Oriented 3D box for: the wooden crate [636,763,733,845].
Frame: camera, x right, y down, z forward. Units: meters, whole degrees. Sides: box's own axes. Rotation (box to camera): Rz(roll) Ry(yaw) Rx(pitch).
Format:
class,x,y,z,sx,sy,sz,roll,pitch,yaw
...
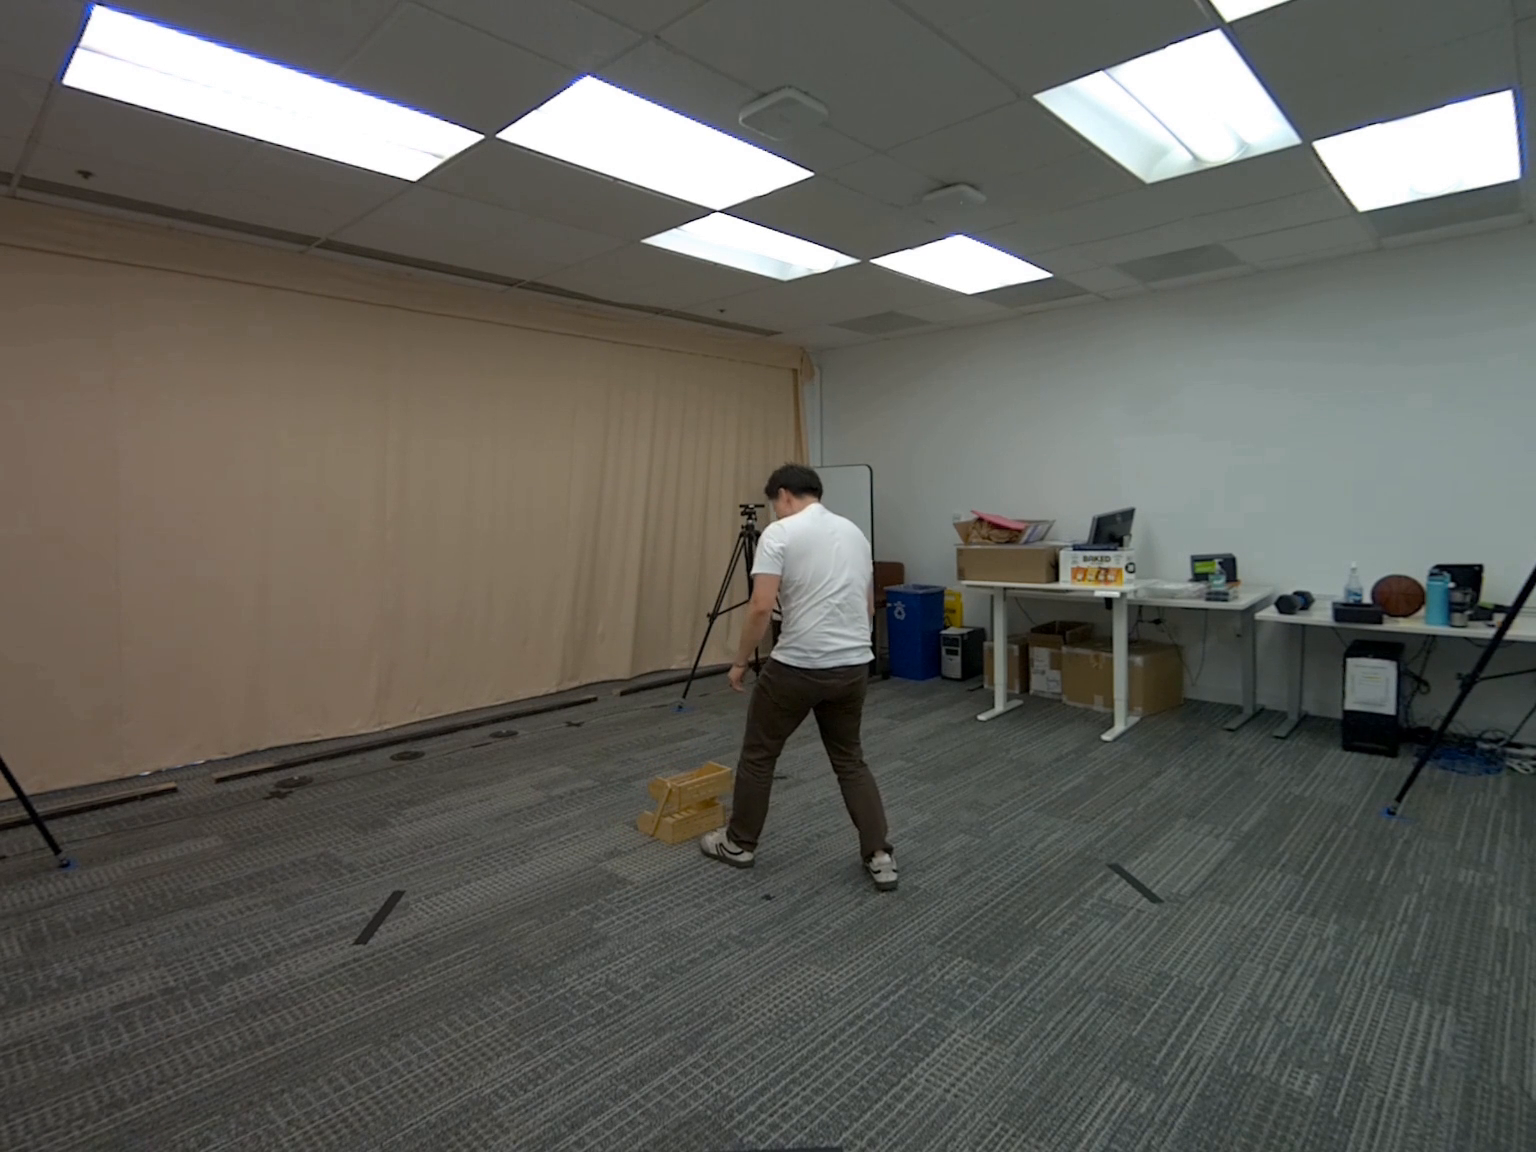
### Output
class,x,y,z,sx,sy,sz,roll,pitch,yaw
wooden crate,-0.367,0.961,3.640,0.314,0.272,0.312,-5,6,-44
